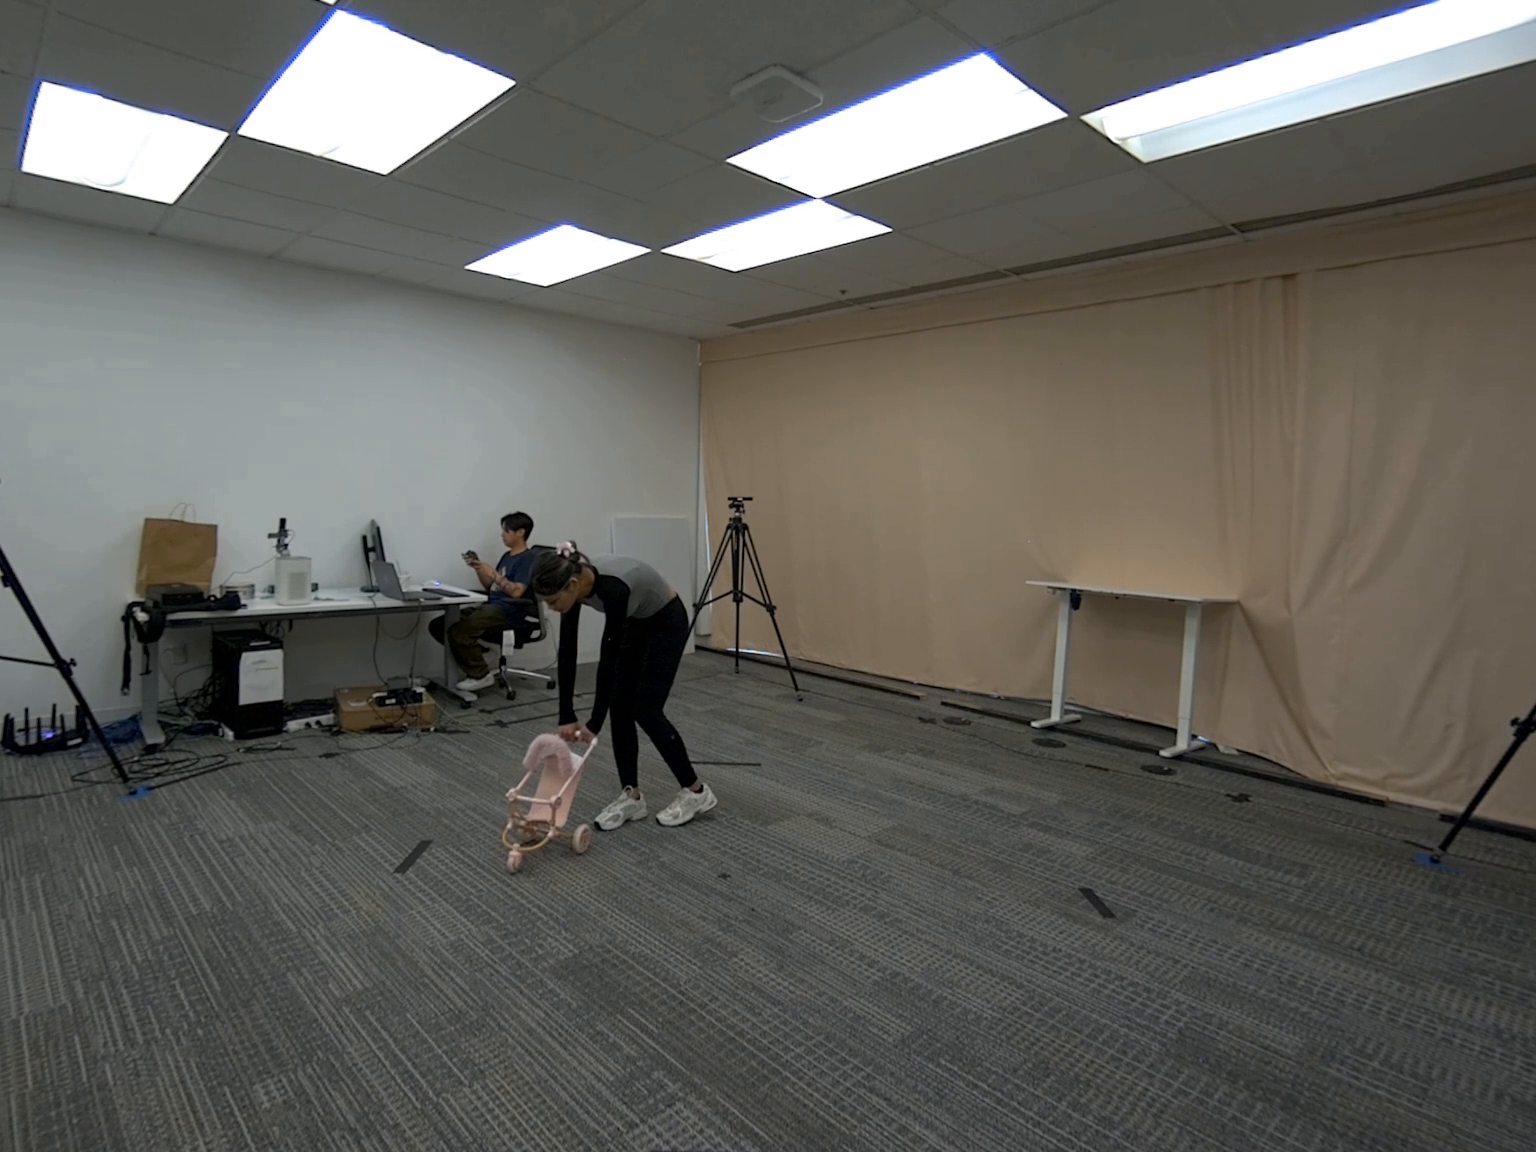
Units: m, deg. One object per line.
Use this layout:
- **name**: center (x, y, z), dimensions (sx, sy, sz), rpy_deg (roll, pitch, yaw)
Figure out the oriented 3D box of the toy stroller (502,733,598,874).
- **toy stroller**: center (-0.872, 0.858, 3.256), dimensions (0.287, 0.538, 0.332), rpy_deg (3, -12, 26)
